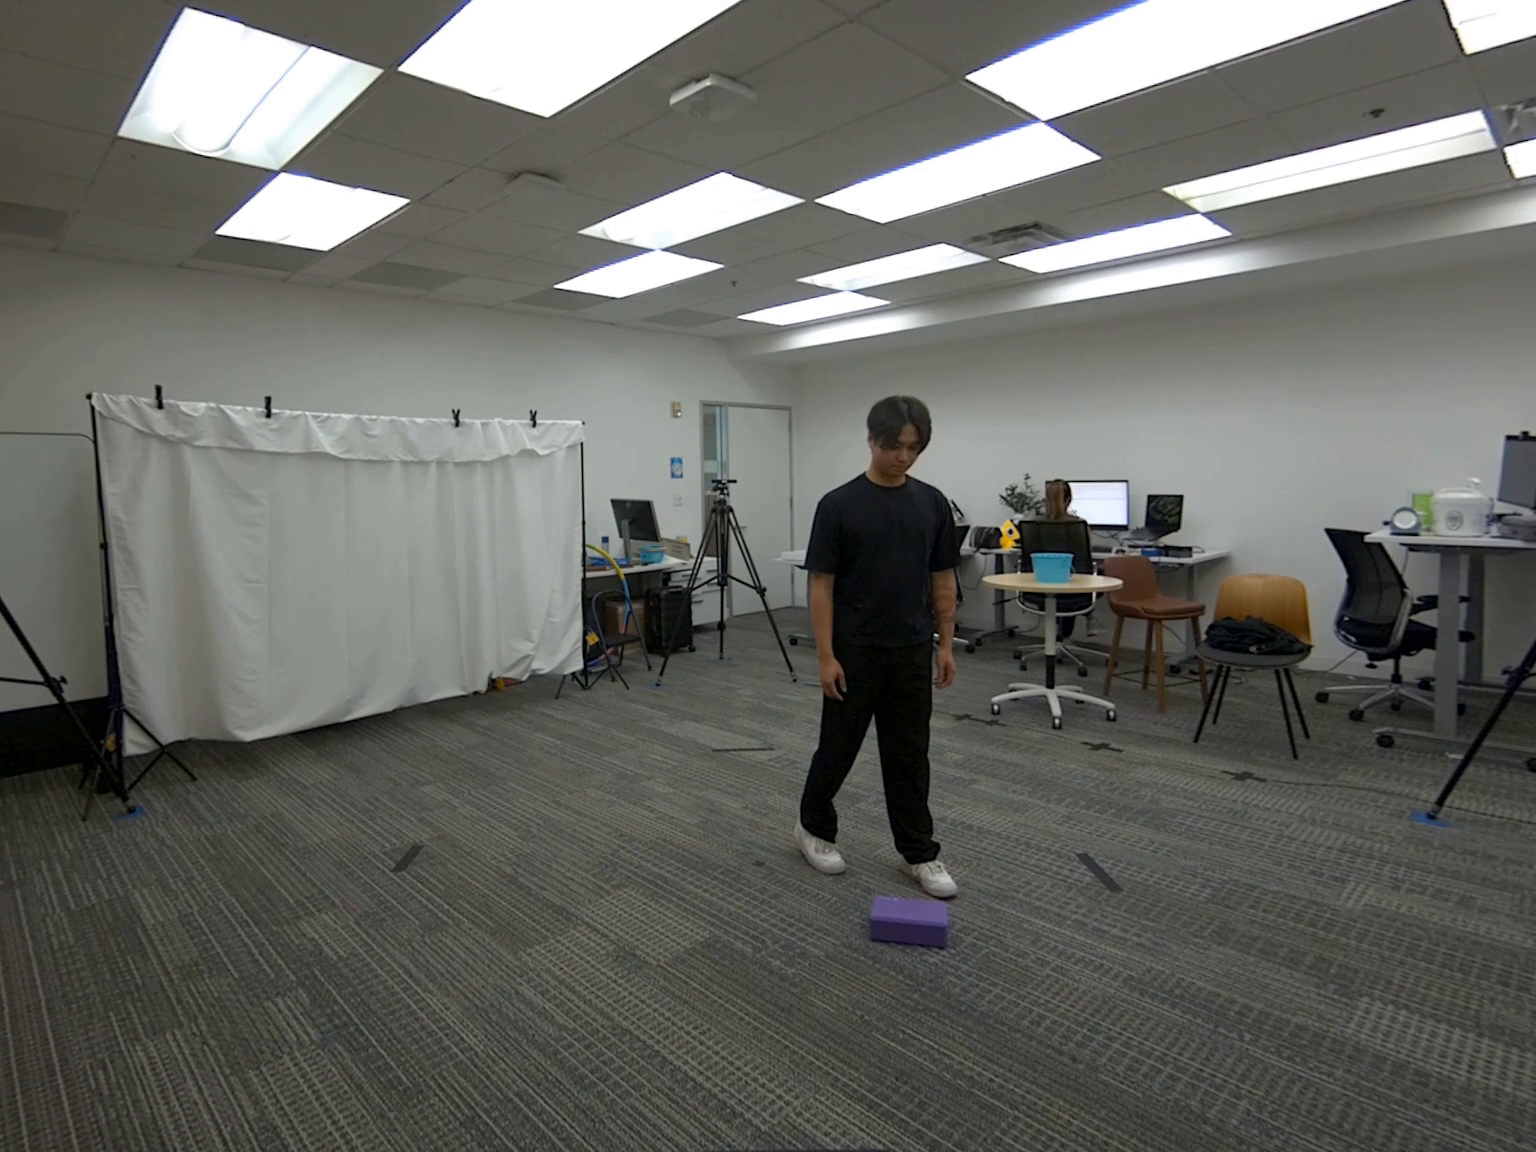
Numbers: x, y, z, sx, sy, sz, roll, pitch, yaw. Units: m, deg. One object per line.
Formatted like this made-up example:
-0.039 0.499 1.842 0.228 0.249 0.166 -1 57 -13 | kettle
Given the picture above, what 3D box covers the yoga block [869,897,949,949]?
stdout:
0.434 1.055 2.614 0.232 0.076 0.148 -1 5 13 | yoga block
